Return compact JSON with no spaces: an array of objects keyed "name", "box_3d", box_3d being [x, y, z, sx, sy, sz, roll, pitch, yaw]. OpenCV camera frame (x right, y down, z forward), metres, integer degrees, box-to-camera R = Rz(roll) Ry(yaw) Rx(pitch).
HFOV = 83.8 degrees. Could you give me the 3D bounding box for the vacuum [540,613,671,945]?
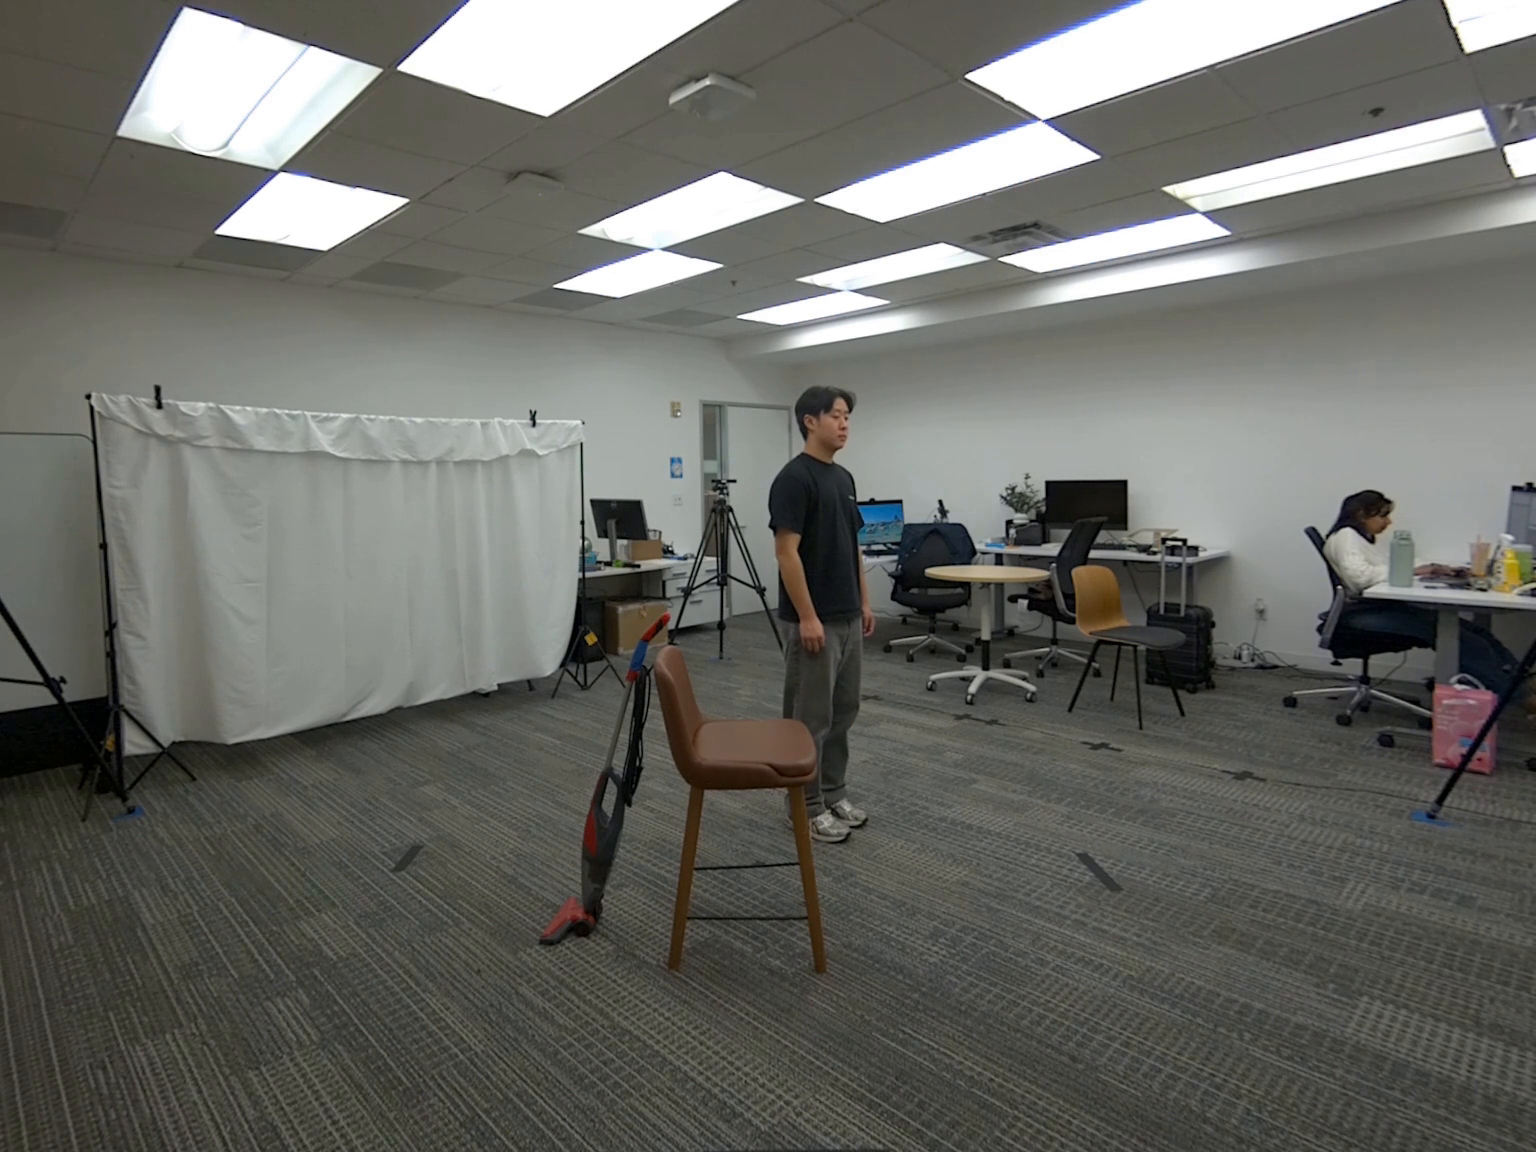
[{"name":"vacuum","box_3d":[-0.461,0.609,2.627,0.144,1.044,0.253,17,8,0]}]
